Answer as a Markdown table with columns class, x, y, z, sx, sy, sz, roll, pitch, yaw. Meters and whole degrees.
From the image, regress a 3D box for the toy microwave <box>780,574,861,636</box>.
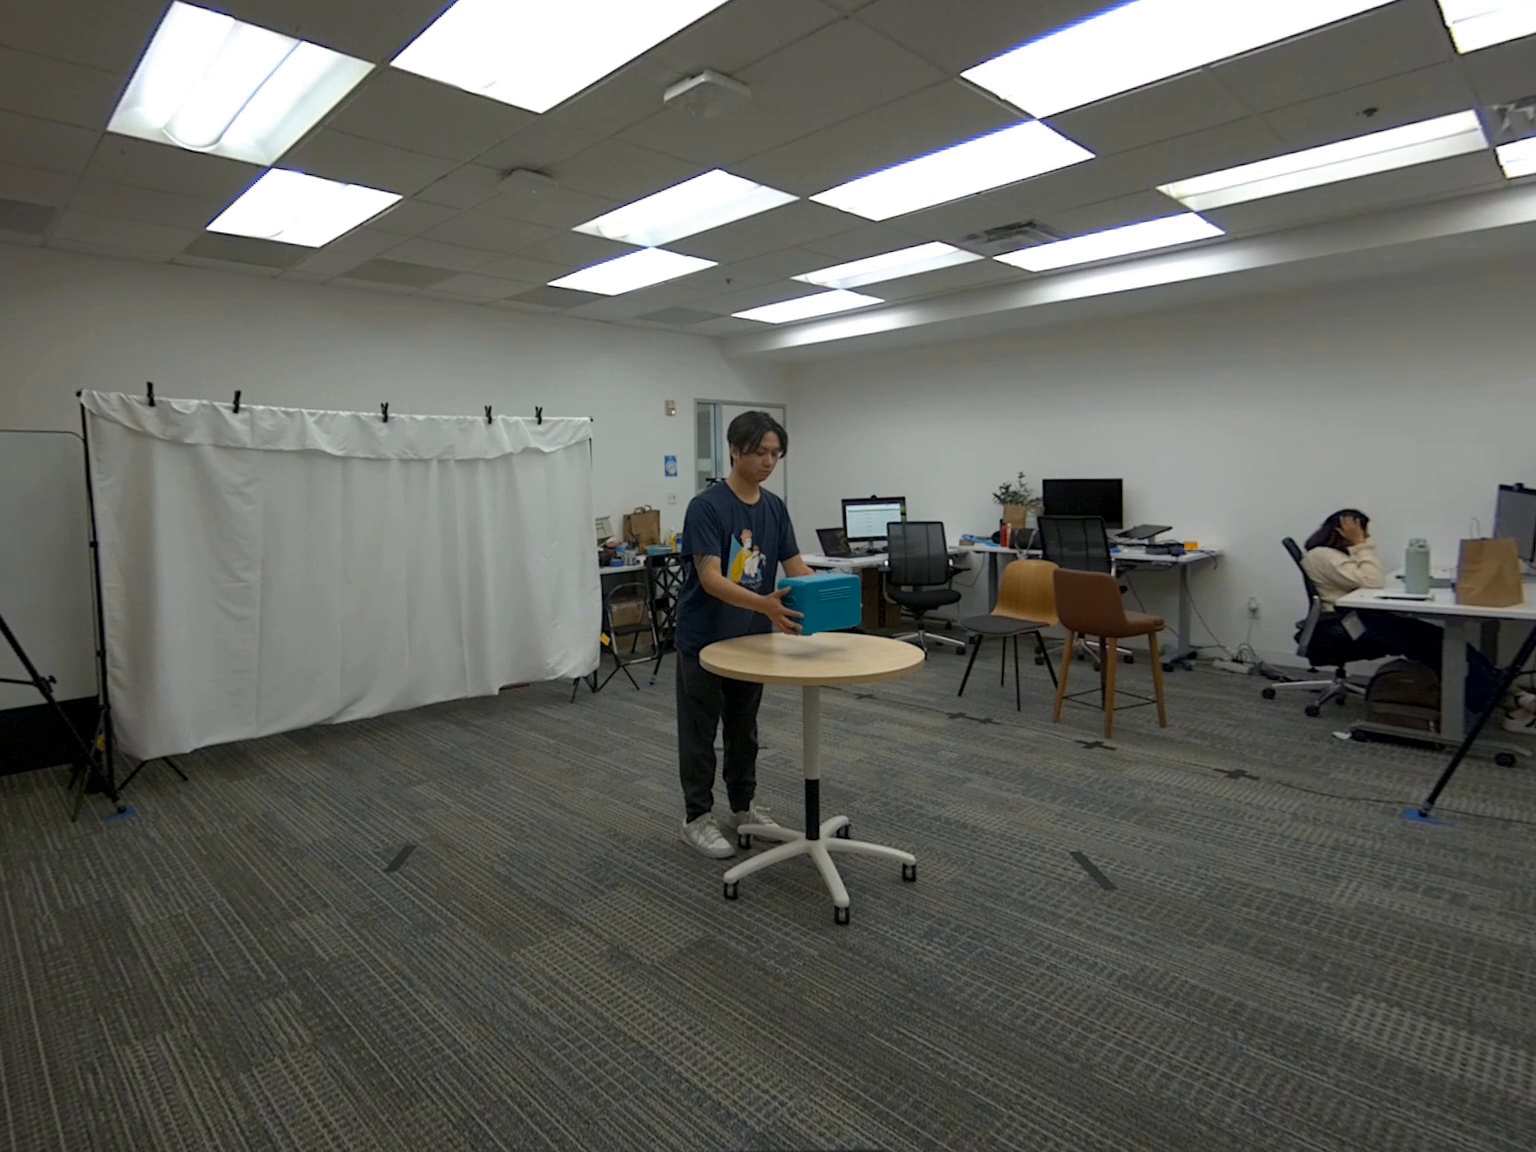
| class | x | y | z | sx | sy | sz | roll | pitch | yaw |
| --- | --- | --- | --- | --- | --- | --- | --- | --- | --- |
| toy microwave | 0.174 | 0.096 | 2.911 | 0.279 | 0.183 | 0.157 | -6 | 6 | -40 |
